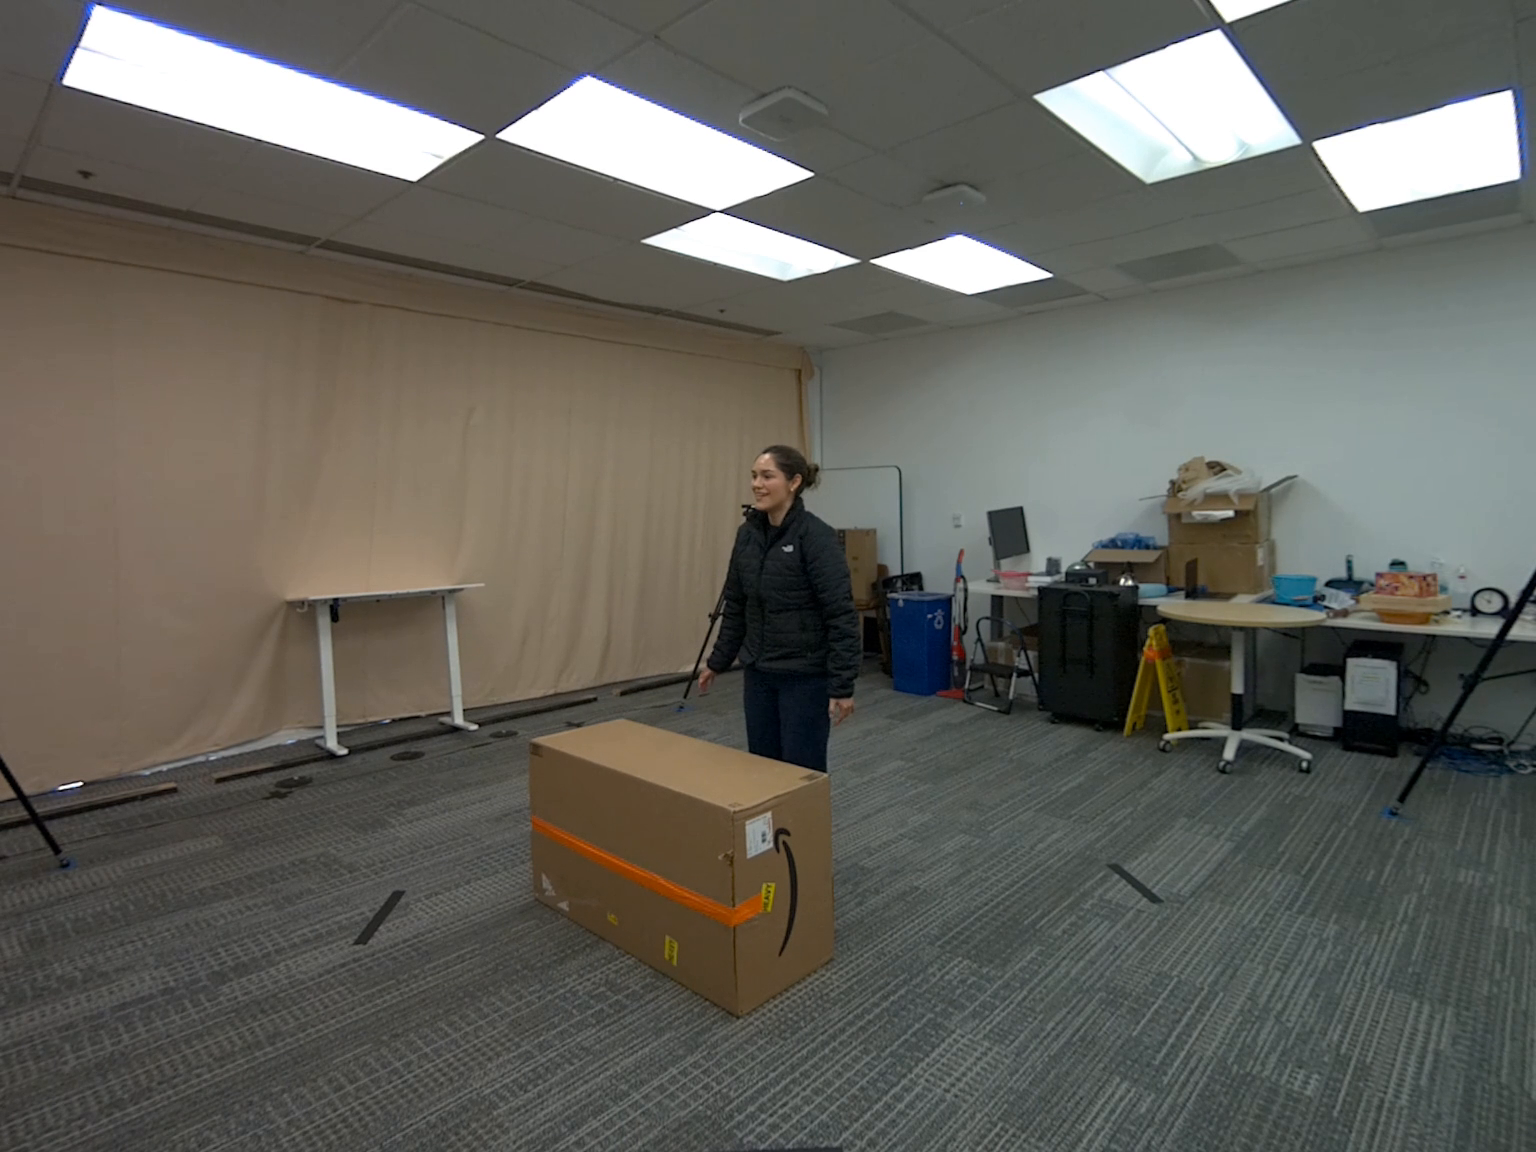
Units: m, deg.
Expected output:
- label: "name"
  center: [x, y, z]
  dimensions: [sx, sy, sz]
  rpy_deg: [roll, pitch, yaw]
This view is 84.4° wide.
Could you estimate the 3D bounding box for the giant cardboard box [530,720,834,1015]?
- label: "giant cardboard box"
  center: [-0.312, 0.878, 2.774]
  dimensions: [1.061, 0.583, 0.433]
  rpy_deg: [3, 4, 45]
